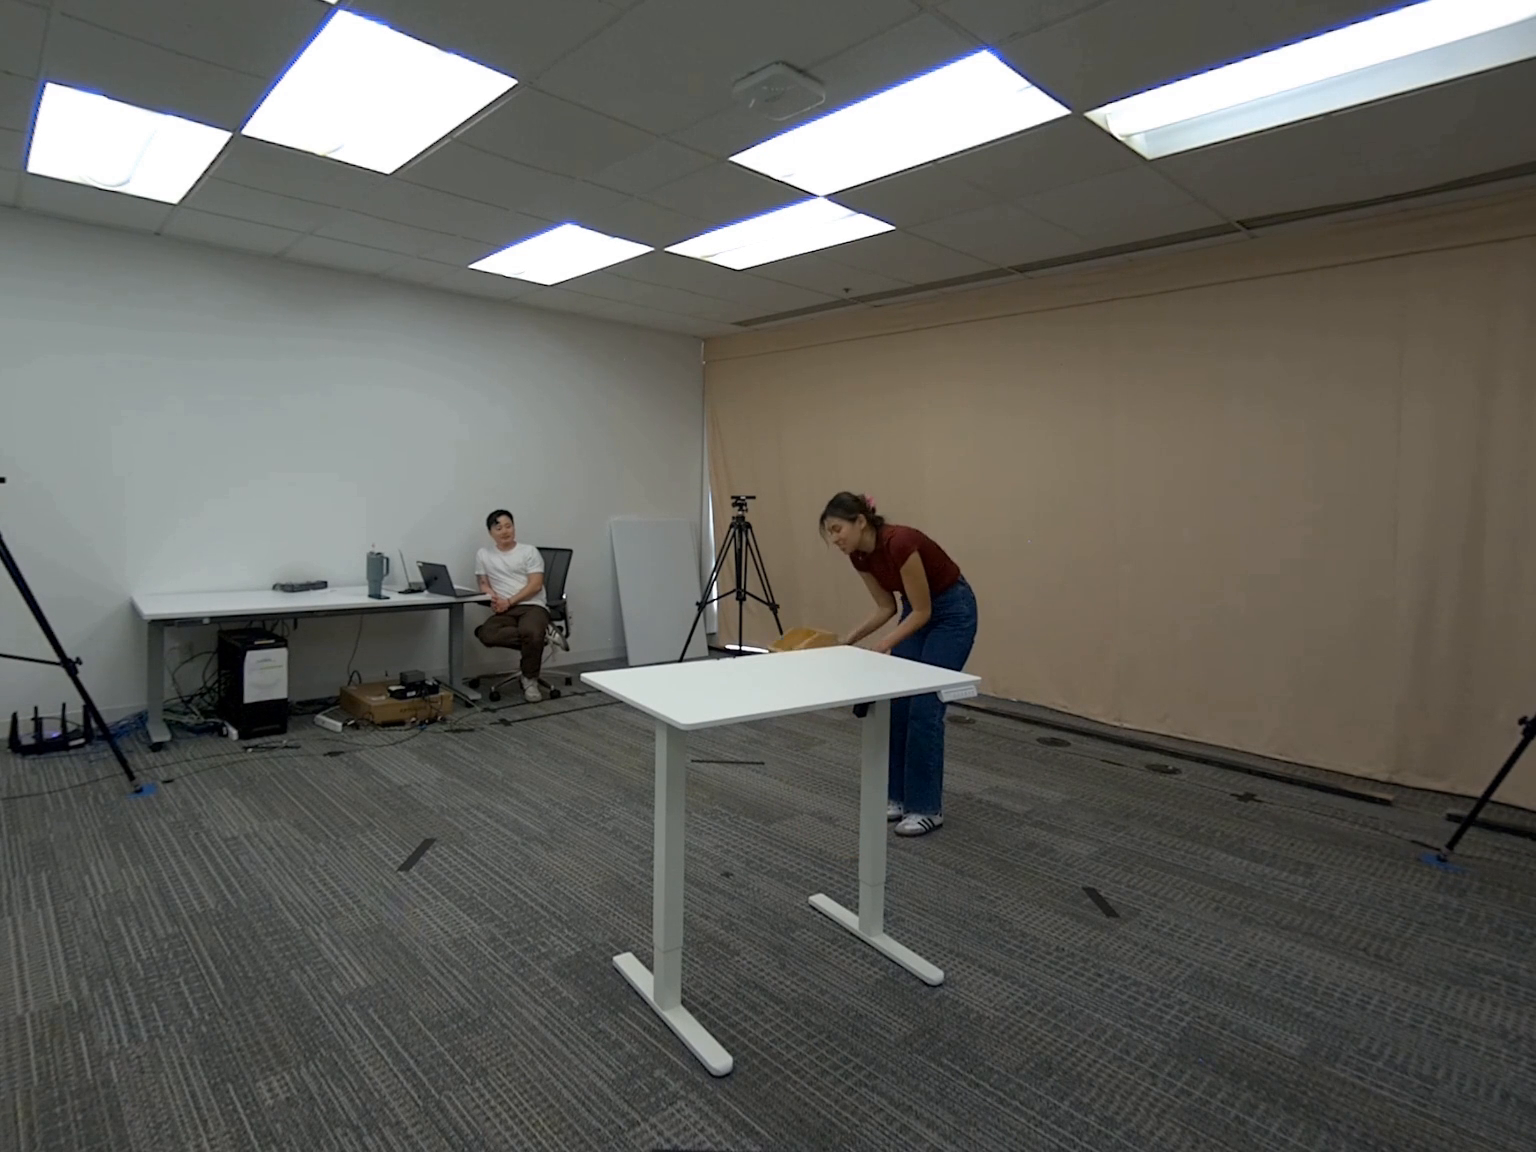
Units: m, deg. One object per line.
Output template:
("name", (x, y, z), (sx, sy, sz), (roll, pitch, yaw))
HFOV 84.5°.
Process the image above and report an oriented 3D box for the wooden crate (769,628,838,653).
("wooden crate", (0.222, 0.328, 3.466), (0.301, 0.271, 0.329), (-35, 10, -15))
